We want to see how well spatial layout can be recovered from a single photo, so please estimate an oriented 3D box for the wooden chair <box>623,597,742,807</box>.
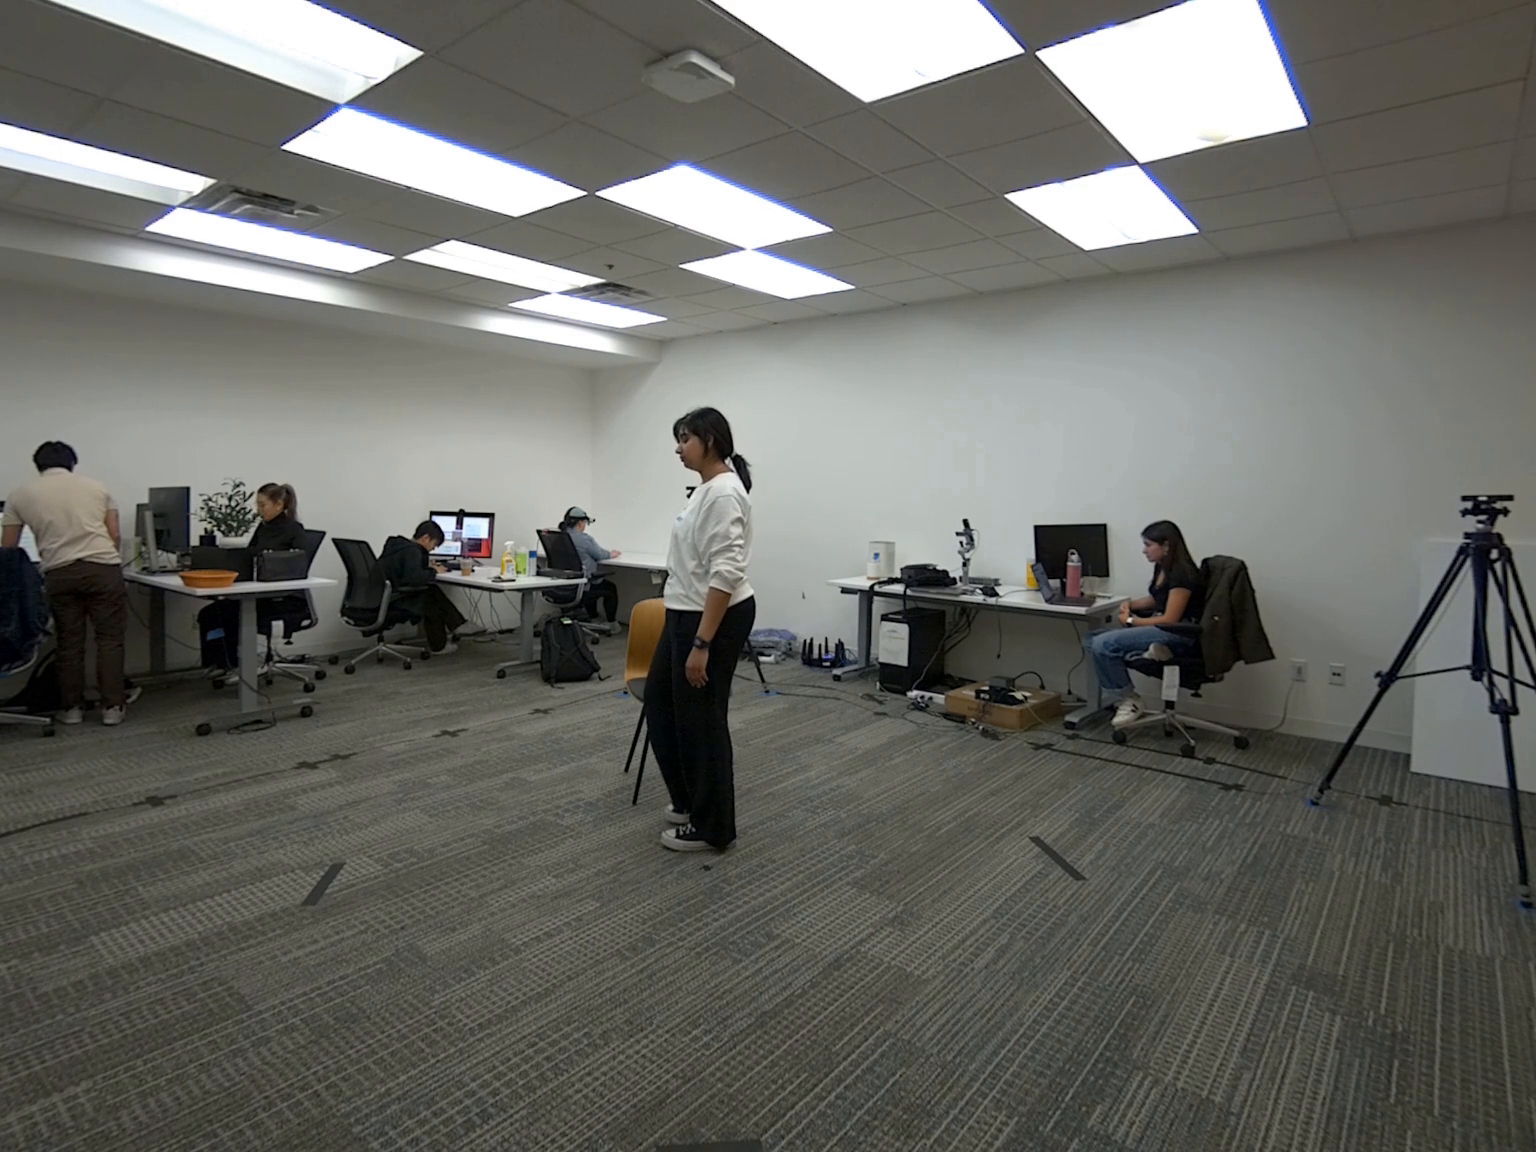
[{"bbox_3d":[-0.415,0.550,3.941,0.472,0.879,0.529,1,-1,-12],"label":"wooden chair"}]
